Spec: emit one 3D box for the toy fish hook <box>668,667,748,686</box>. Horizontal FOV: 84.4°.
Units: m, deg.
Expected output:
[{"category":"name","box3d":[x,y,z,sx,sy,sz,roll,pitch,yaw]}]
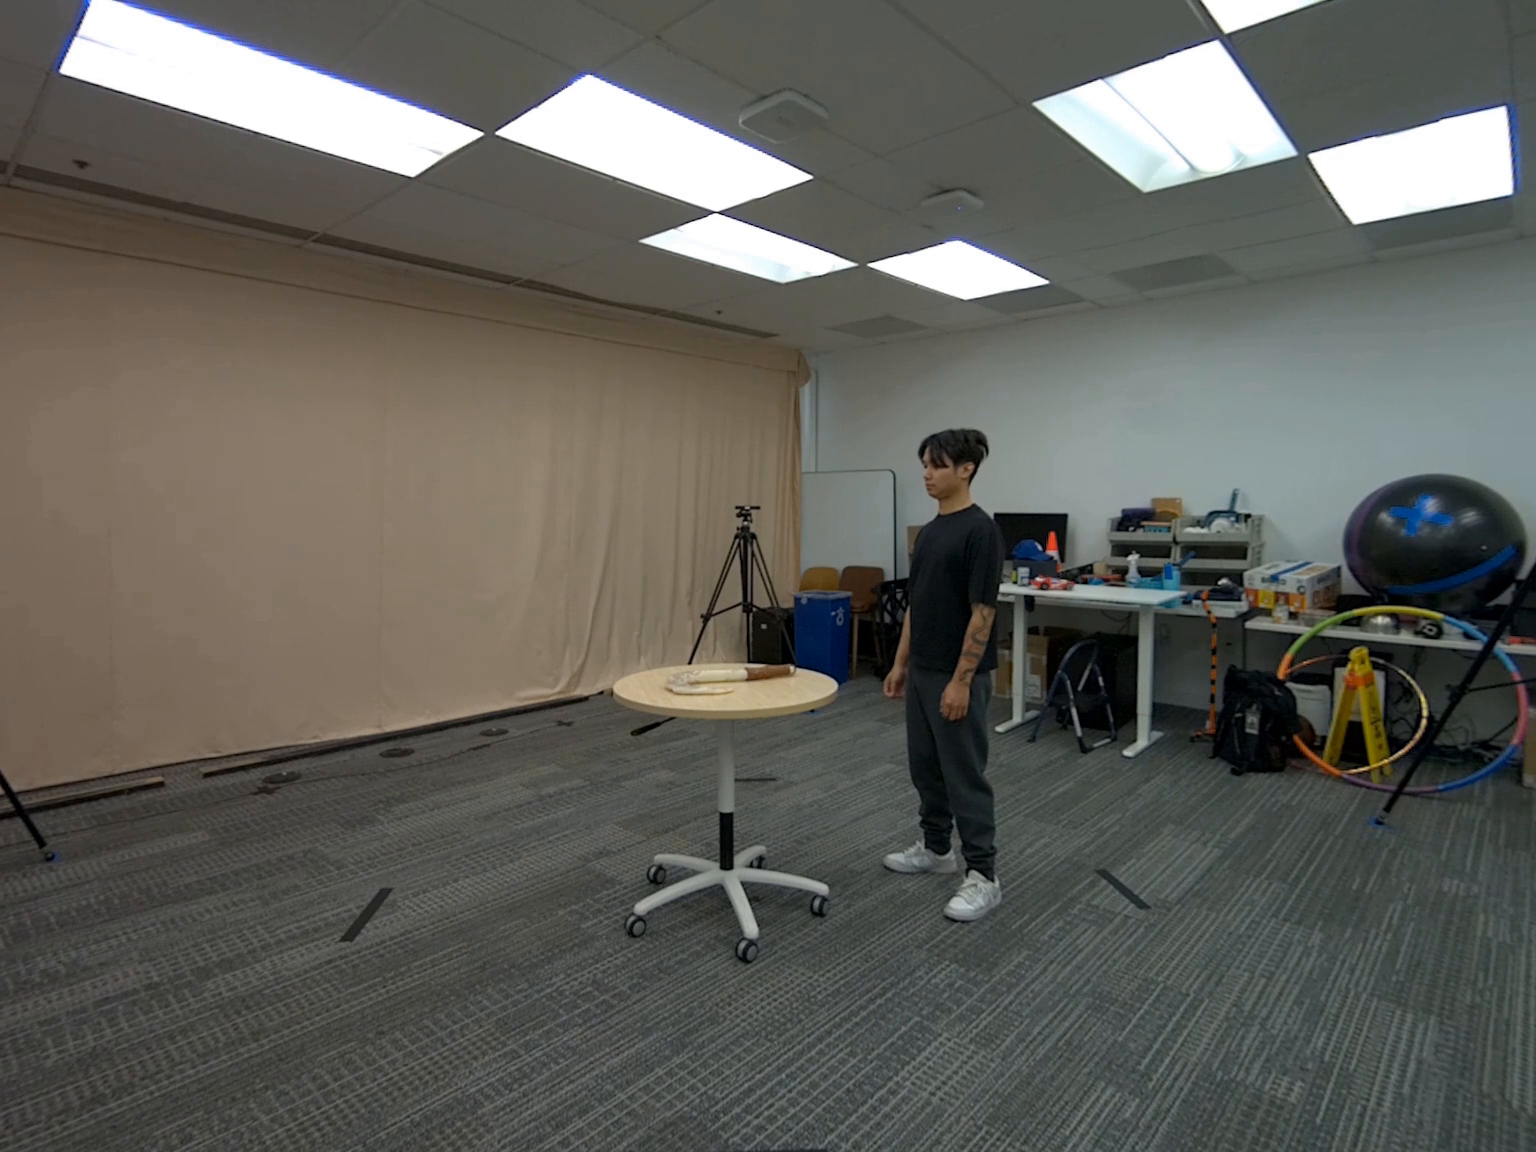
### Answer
[{"category":"toy fish hook","box3d":[-0.088,0.362,2.869,0.495,0.048,0.231,-4,9,-24]}]
